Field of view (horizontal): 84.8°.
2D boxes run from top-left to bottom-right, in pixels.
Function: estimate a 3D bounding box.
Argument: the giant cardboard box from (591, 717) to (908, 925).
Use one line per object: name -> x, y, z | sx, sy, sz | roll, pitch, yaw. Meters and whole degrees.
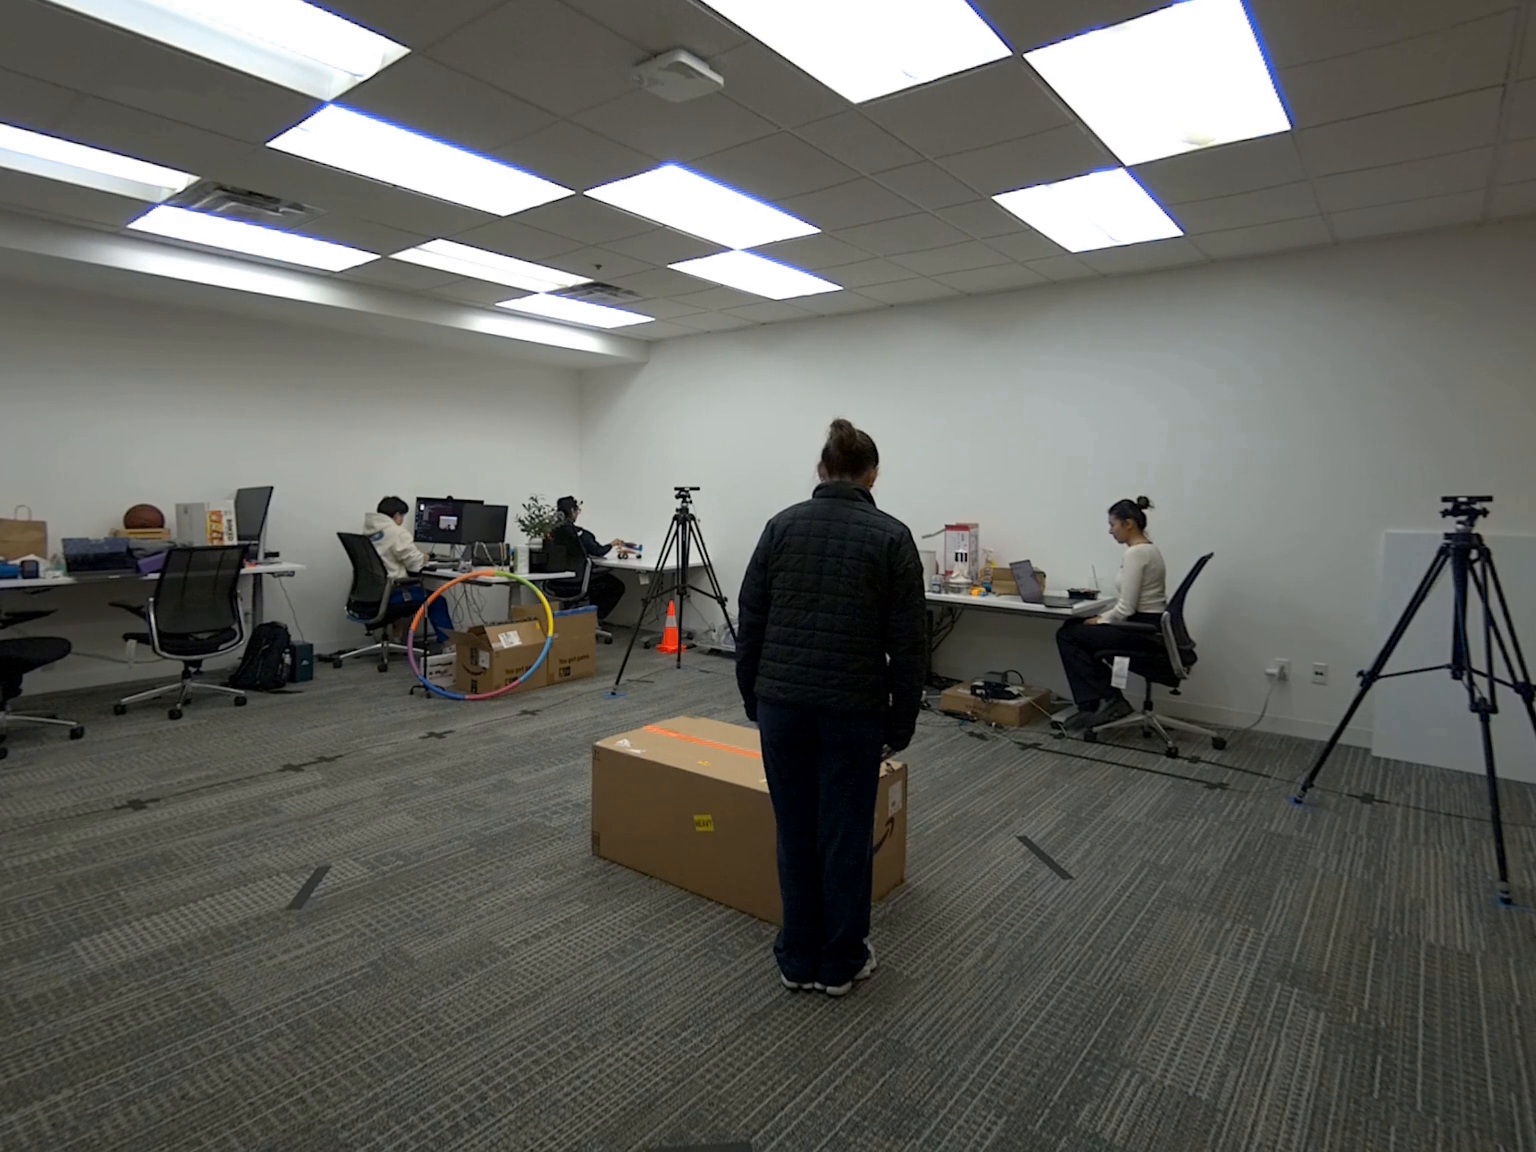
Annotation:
giant cardboard box -> -0.071, 0.853, 3.135 | 1.059, 0.424, 0.561 | 5, 7, 36
